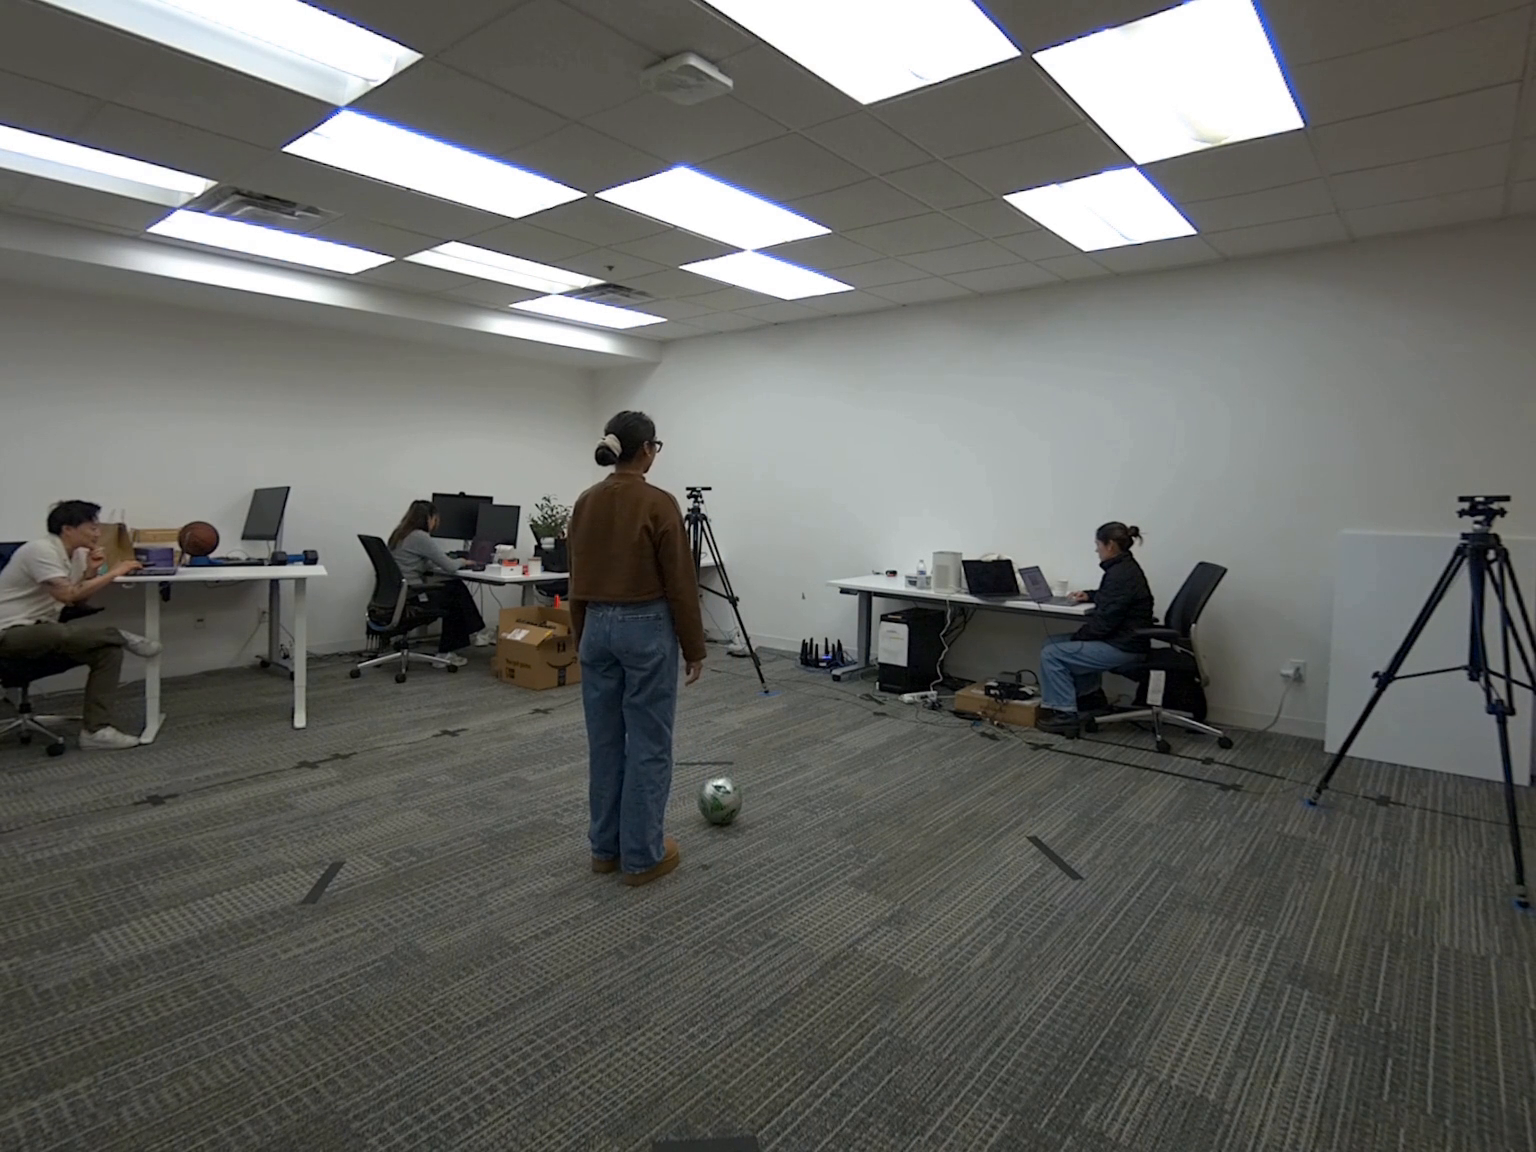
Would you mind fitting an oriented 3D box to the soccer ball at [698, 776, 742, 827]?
[{"bbox_3d":[-0.211,0.930,3.541,0.187,0.187,0.188,1,4,-2],"label":"soccer ball"}]
